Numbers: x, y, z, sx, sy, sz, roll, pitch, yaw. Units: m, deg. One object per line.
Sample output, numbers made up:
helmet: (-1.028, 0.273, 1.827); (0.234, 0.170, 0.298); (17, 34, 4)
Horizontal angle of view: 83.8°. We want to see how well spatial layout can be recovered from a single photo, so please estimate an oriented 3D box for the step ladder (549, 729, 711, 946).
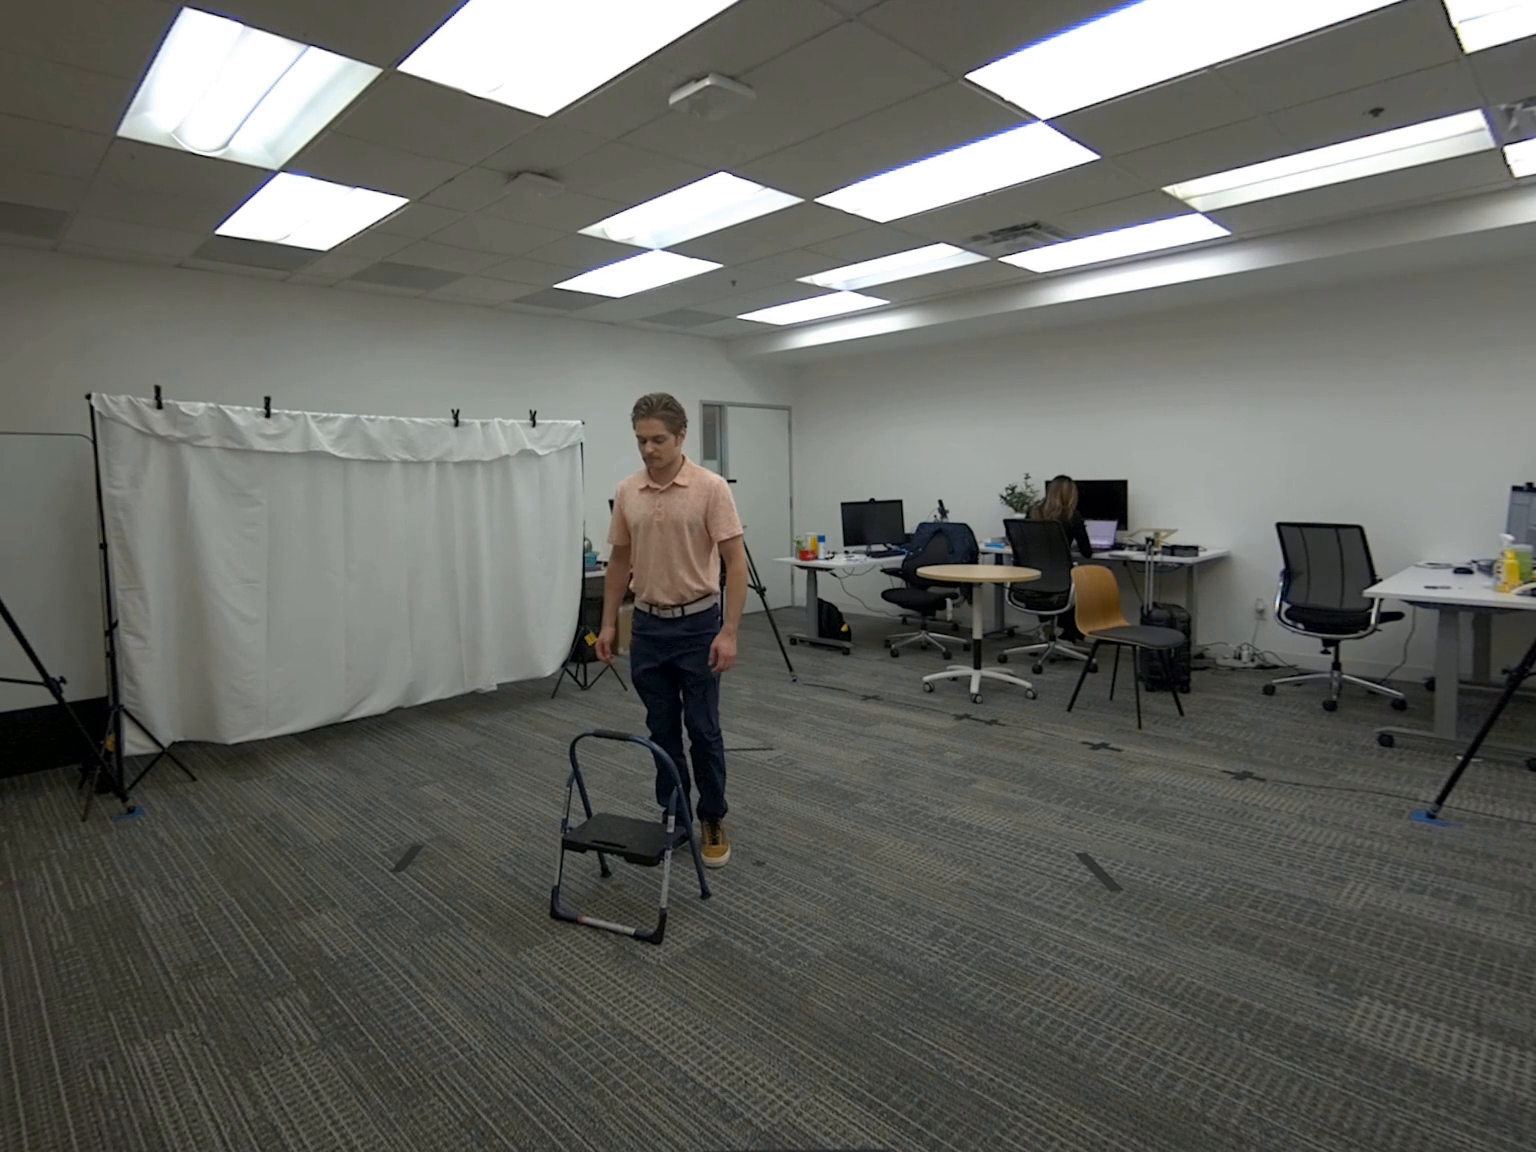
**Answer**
step ladder: (-0.459, 0.790, 2.793); (0.440, 0.603, 0.343); (1, 5, 24)
